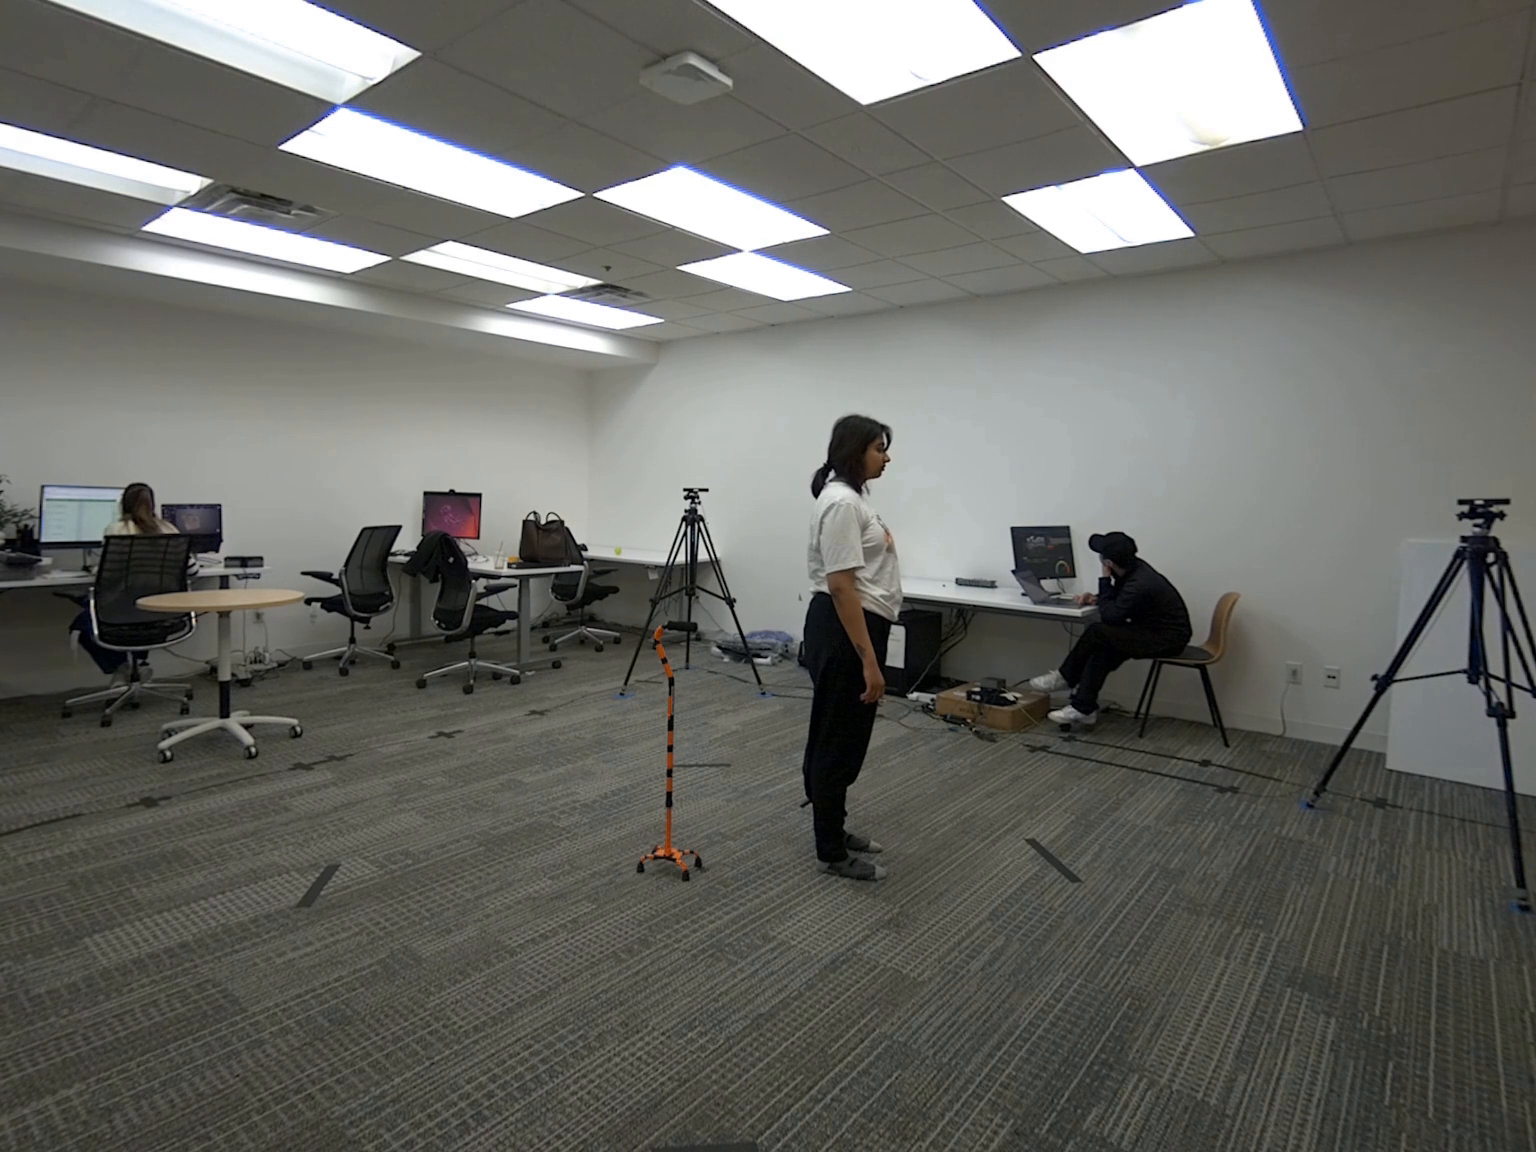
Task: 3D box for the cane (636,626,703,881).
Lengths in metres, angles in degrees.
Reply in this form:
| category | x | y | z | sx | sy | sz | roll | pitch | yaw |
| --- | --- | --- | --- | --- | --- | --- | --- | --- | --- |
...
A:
| category | x | y | z | sx | sy | sz | roll | pitch | yaw |
| --- | --- | --- | --- | --- | --- | --- | --- | --- | --- |
| cane | -0.368 | 0.615 | 3.098 | 0.211 | 0.906 | 0.149 | 1 | 2 | 20 |
